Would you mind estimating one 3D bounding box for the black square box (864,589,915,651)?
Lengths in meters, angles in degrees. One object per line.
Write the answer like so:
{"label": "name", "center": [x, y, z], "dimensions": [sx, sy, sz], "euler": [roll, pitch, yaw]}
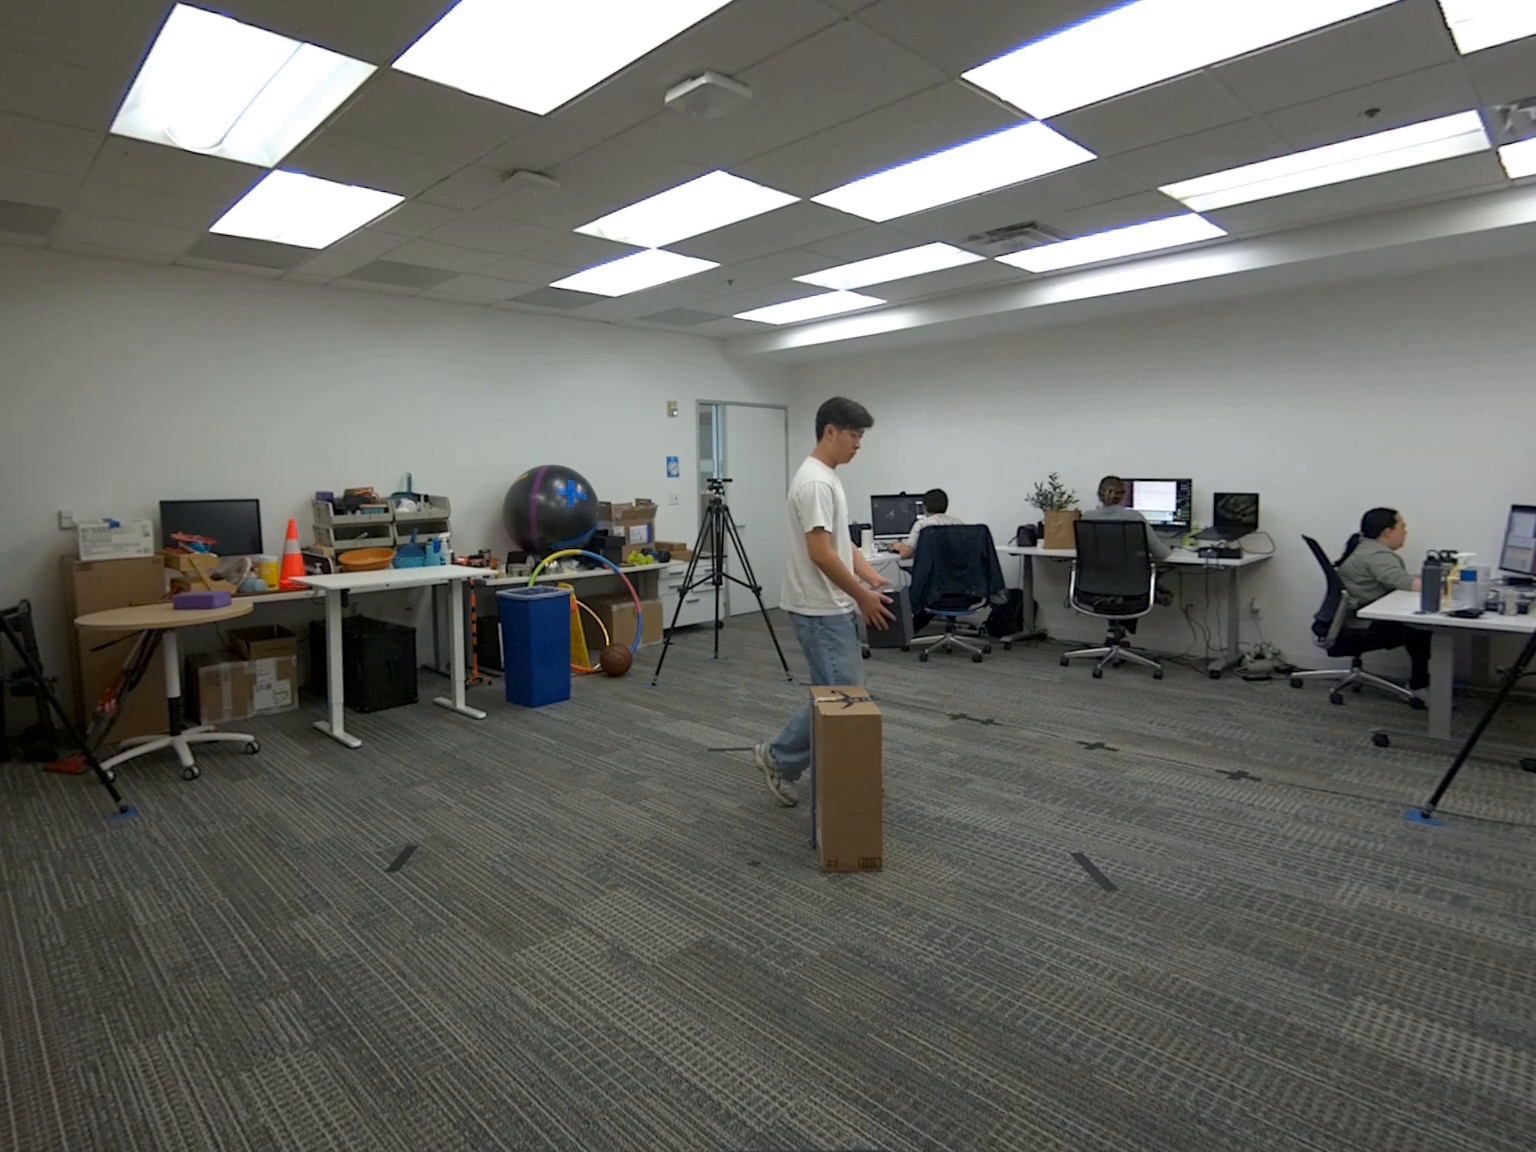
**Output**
{"label": "black square box", "center": [0.492, 0.170, 3.576], "dimensions": [0.158, 0.227, 0.214], "euler": [-6, 4, 17]}
